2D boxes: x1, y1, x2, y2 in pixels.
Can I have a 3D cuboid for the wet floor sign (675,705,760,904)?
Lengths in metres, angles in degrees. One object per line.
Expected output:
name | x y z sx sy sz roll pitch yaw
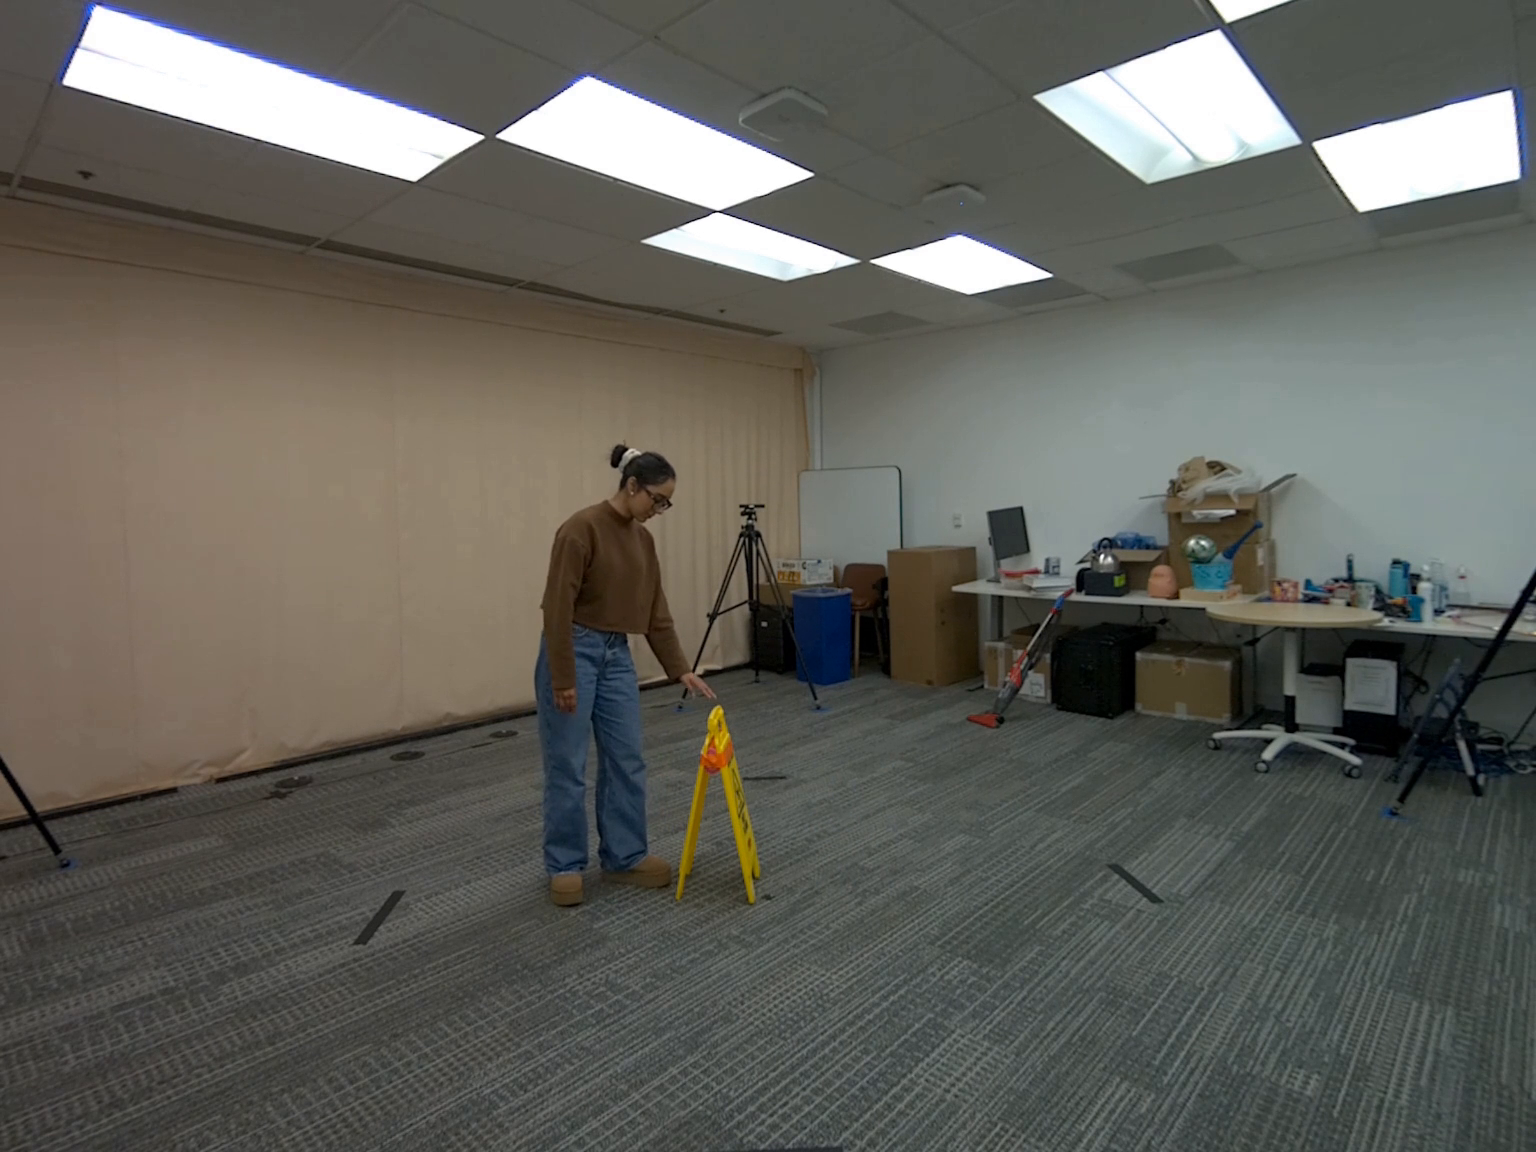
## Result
wet floor sign | -0.186 0.820 3.055 0.292 0.645 0.280 -1 3 7
